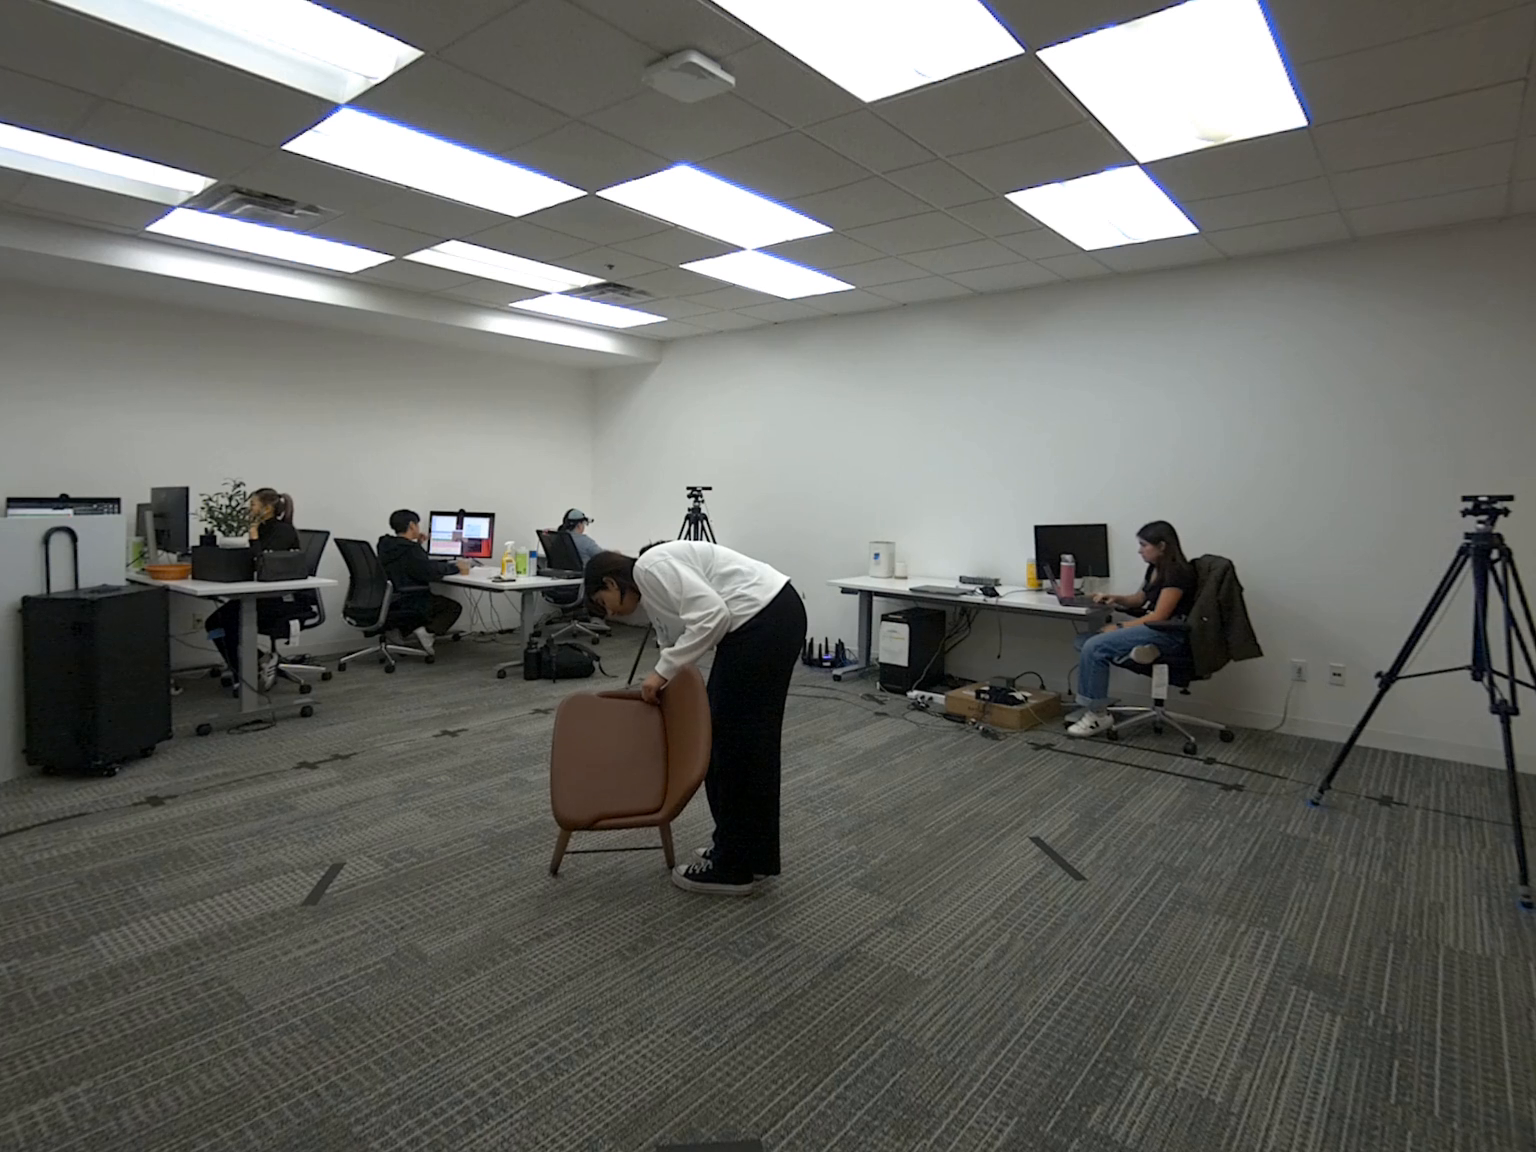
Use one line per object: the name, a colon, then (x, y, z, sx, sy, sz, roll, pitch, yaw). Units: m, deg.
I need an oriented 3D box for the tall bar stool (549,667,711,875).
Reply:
tall bar stool: (-0.495, 0.664, 2.852, 0.462, 0.470, 0.875, 5, -35, -11)
